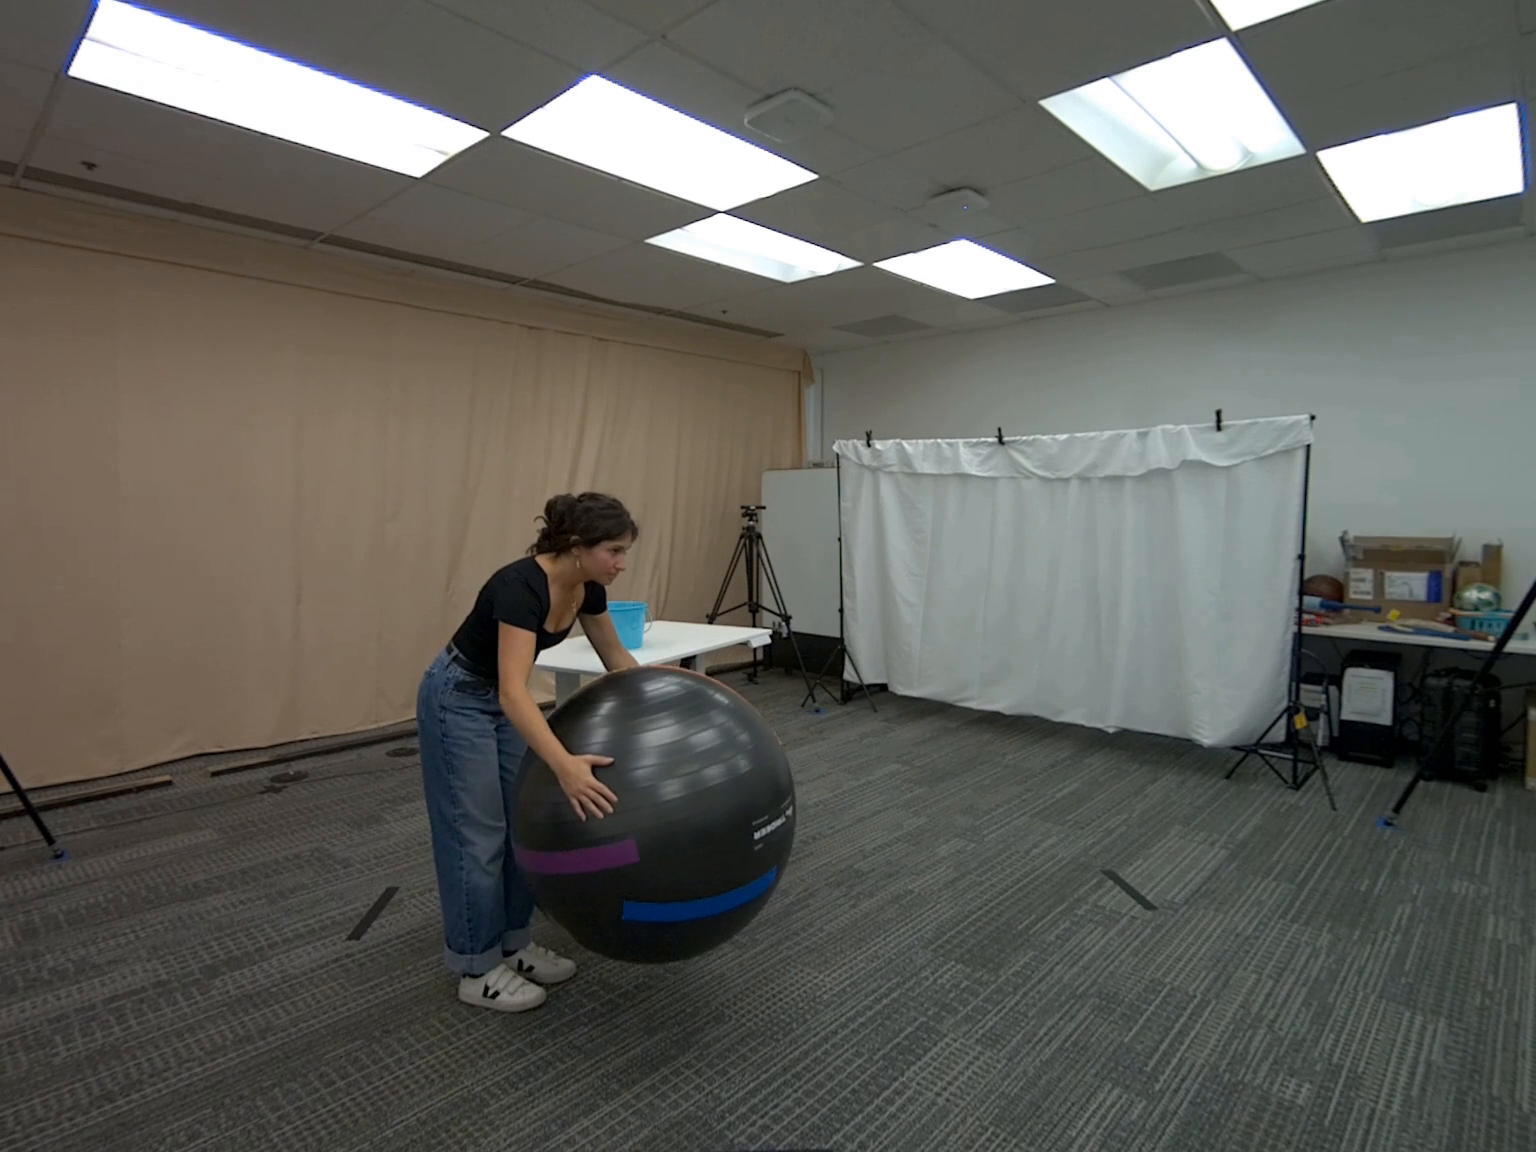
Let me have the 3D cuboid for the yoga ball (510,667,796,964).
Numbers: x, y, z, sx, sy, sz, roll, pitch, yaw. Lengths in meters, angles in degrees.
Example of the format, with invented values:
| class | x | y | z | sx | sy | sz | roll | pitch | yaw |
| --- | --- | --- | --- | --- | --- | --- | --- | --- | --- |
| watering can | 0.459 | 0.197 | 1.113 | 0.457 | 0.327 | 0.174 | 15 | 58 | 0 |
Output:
| class | x | y | z | sx | sy | sz | roll | pitch | yaw |
| --- | --- | --- | --- | --- | --- | --- | --- | --- | --- |
| yoga ball | -0.305 | 0.636 | 2.245 | 0.757 | 0.756 | 0.760 | 0 | 4 | -2 |
